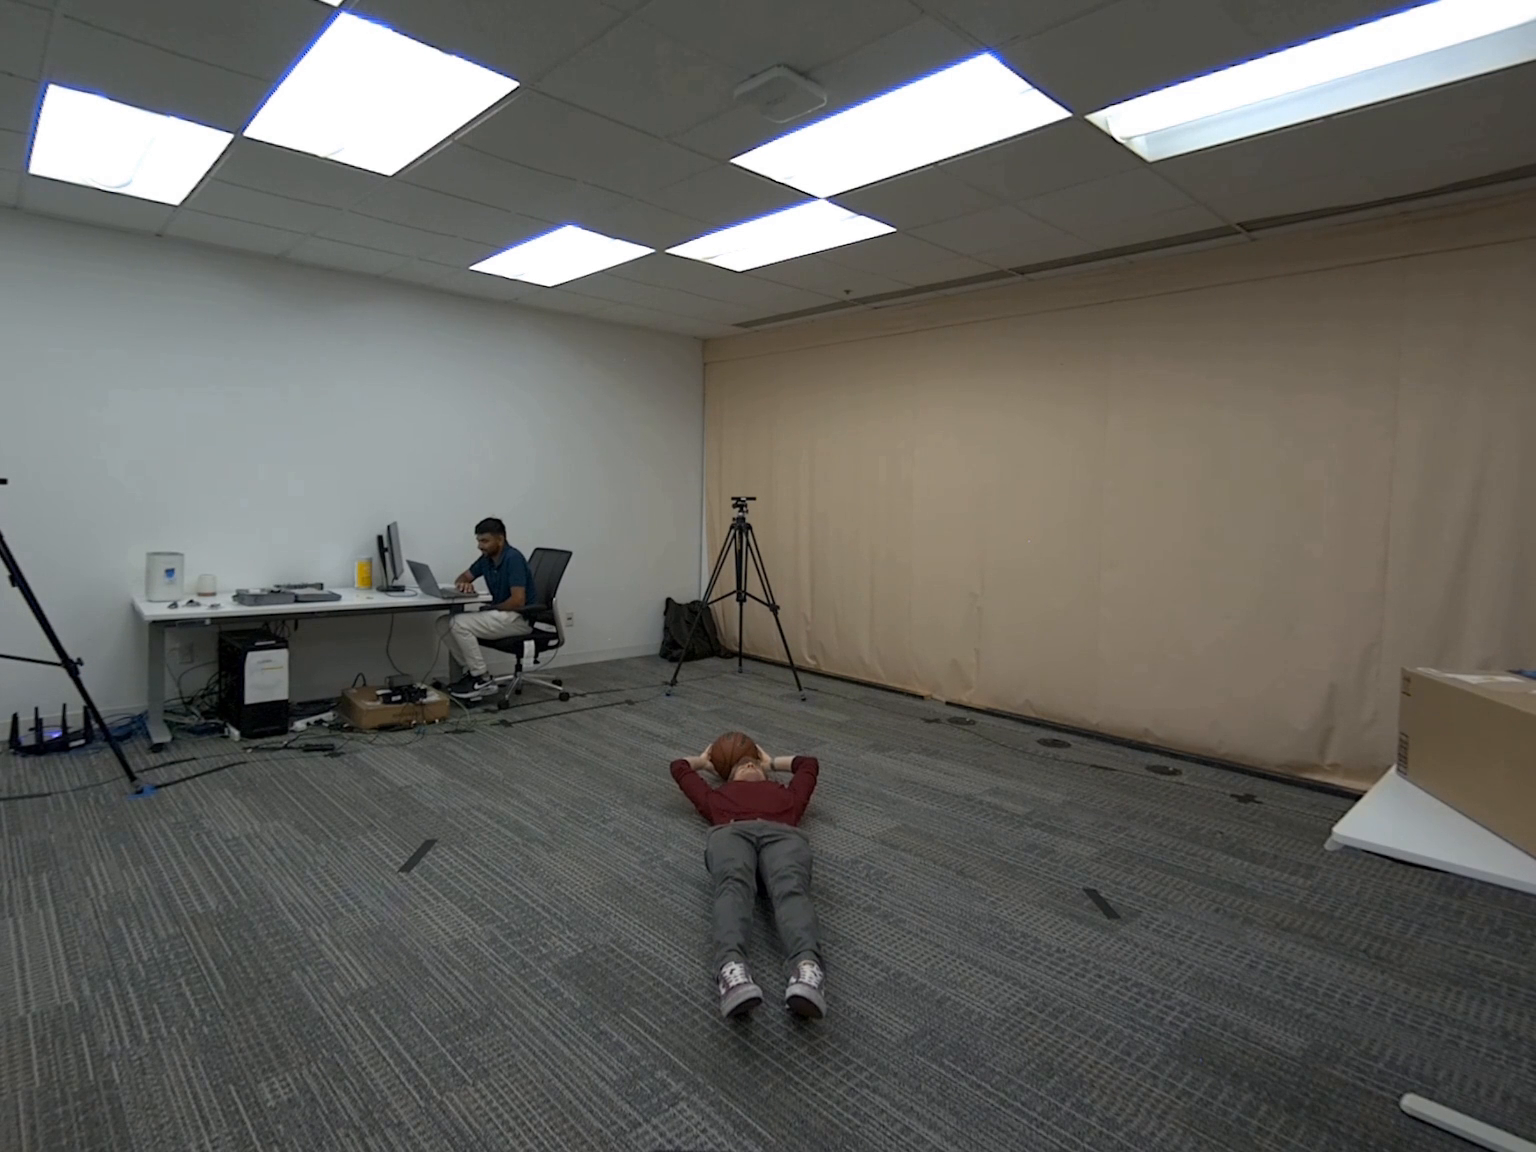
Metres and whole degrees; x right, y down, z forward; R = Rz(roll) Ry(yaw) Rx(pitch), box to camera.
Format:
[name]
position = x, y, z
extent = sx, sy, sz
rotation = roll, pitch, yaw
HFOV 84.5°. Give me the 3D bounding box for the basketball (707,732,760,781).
[basketball]
position = -0.180, 0.894, 4.179
extent = 0.236, 0.235, 0.237
rotation = 1, 4, -1
